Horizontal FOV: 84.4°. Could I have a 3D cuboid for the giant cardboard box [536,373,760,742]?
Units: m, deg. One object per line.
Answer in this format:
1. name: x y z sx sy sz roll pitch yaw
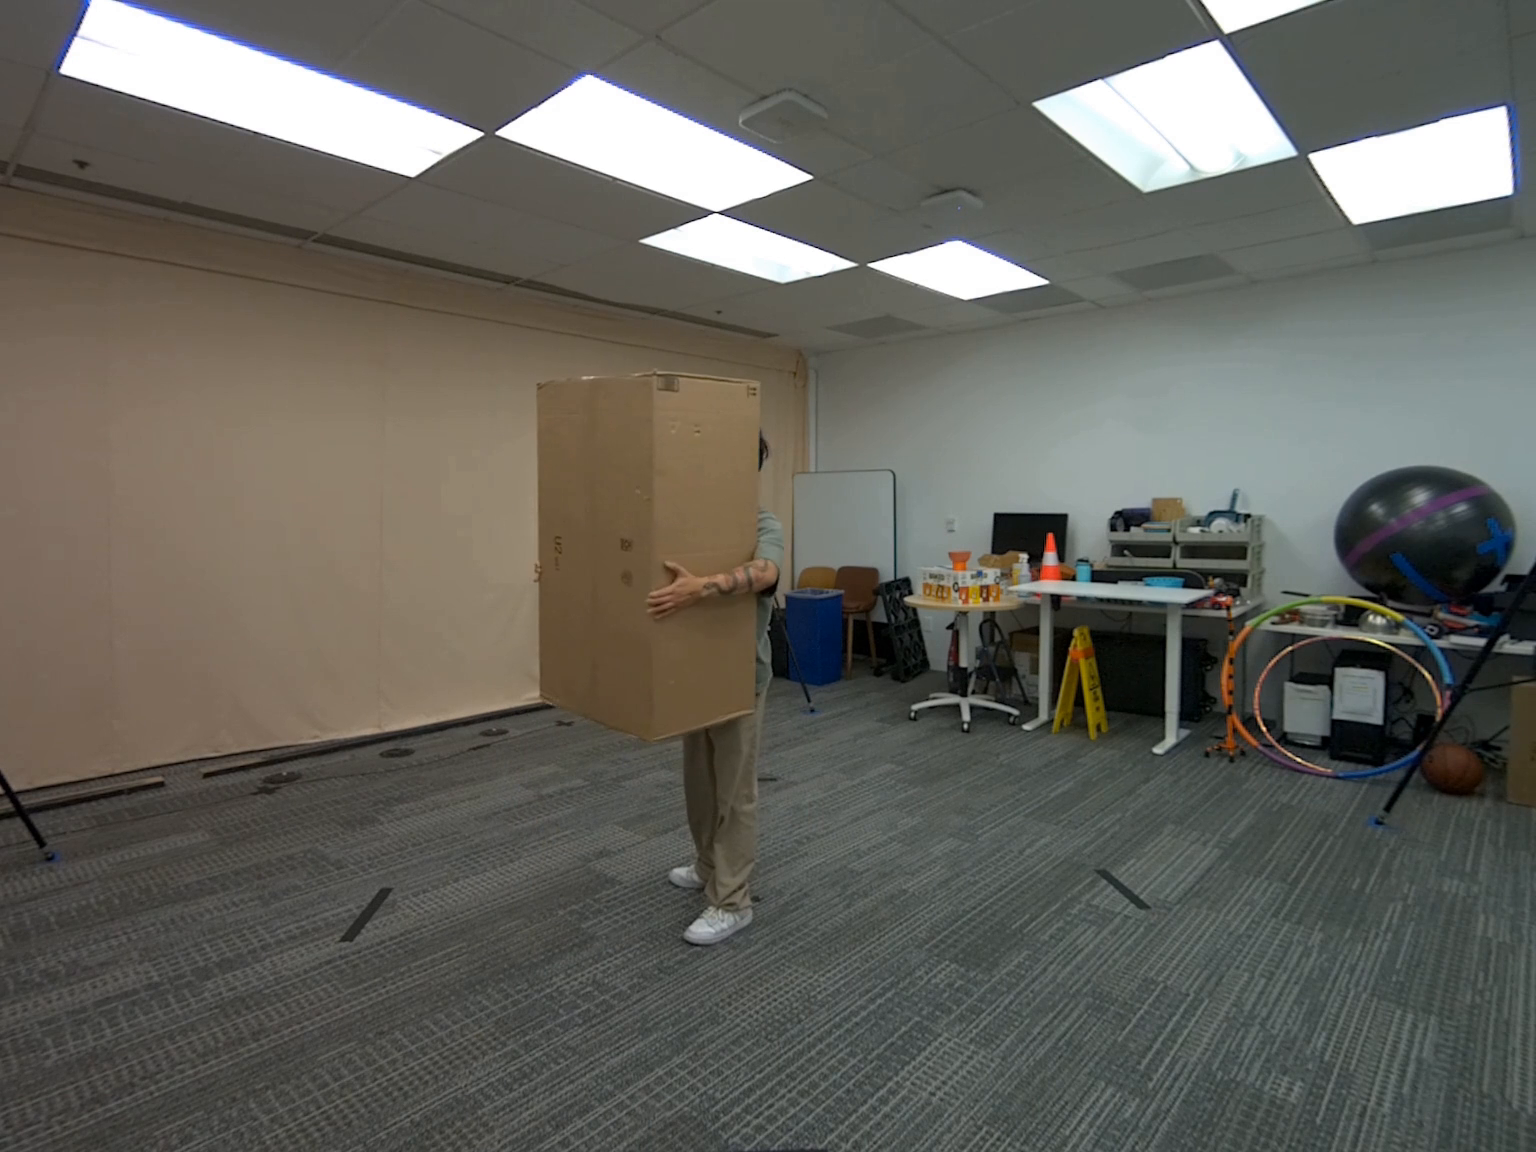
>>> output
1. giant cardboard box: -0.378 -0.090 2.634 0.597 1.022 0.413 7 8 44
